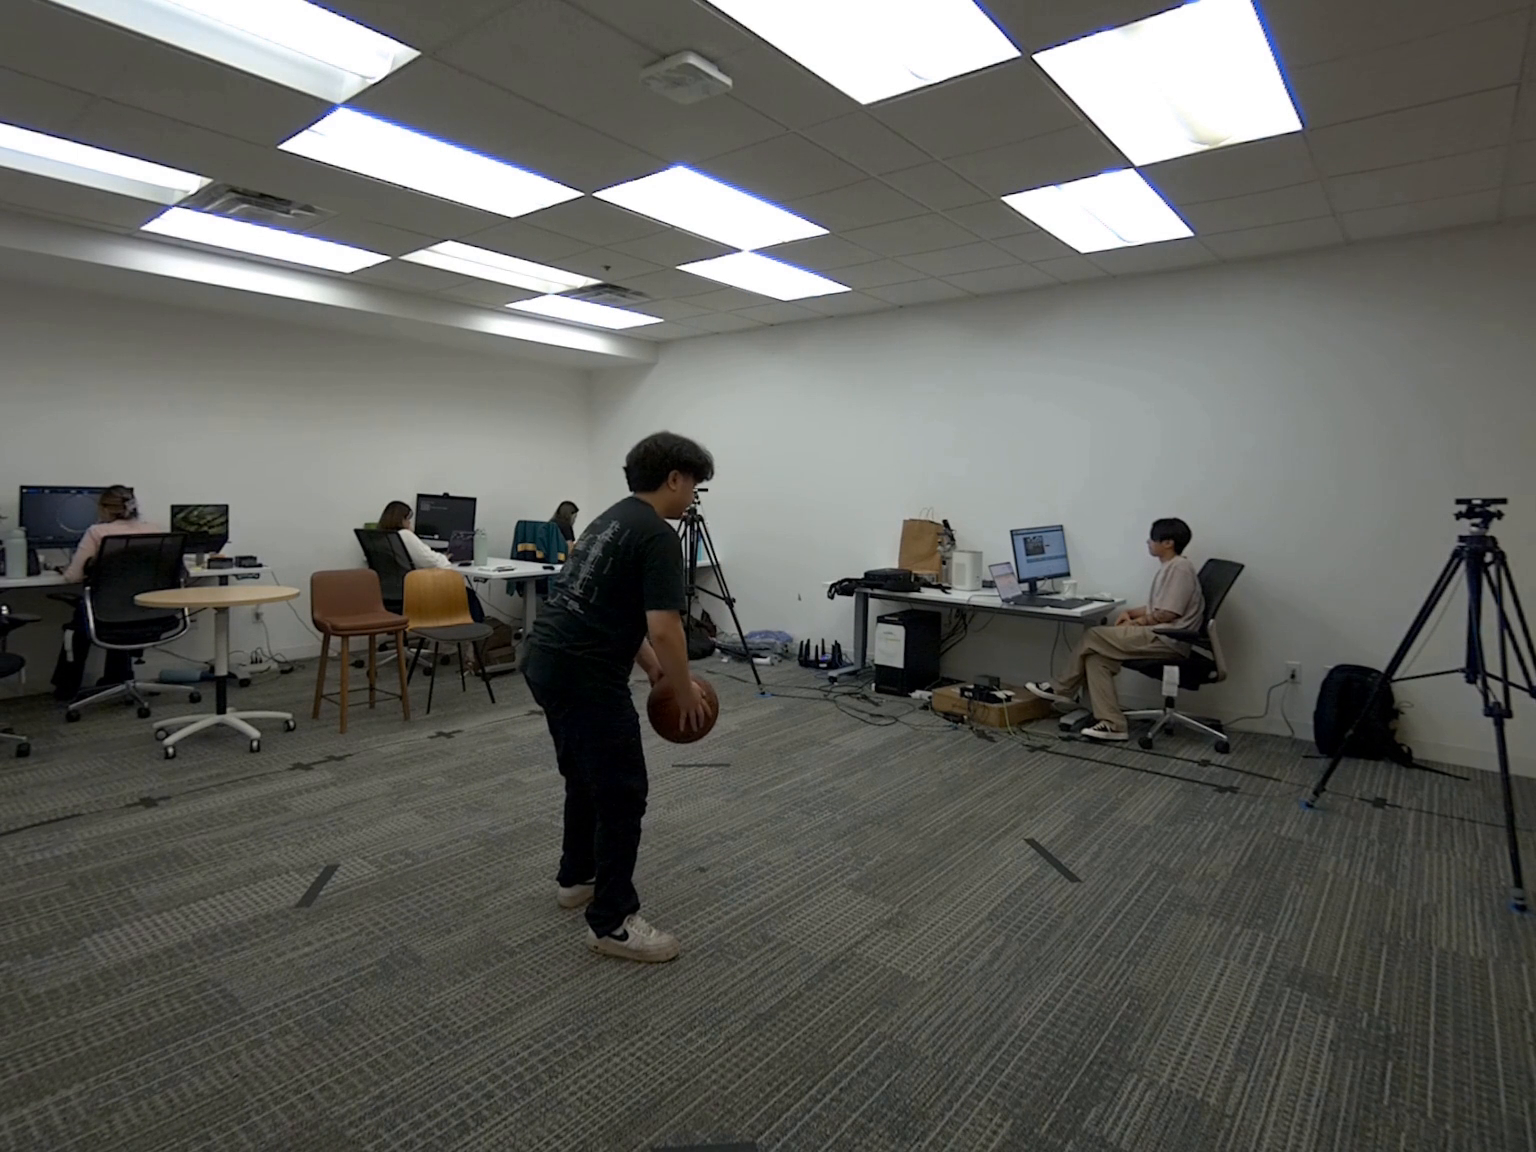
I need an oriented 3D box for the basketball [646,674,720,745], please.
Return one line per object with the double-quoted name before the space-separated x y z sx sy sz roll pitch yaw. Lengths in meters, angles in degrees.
"basketball" -0.298 0.442 2.812 0.235 0.235 0.237 1 4 -2
